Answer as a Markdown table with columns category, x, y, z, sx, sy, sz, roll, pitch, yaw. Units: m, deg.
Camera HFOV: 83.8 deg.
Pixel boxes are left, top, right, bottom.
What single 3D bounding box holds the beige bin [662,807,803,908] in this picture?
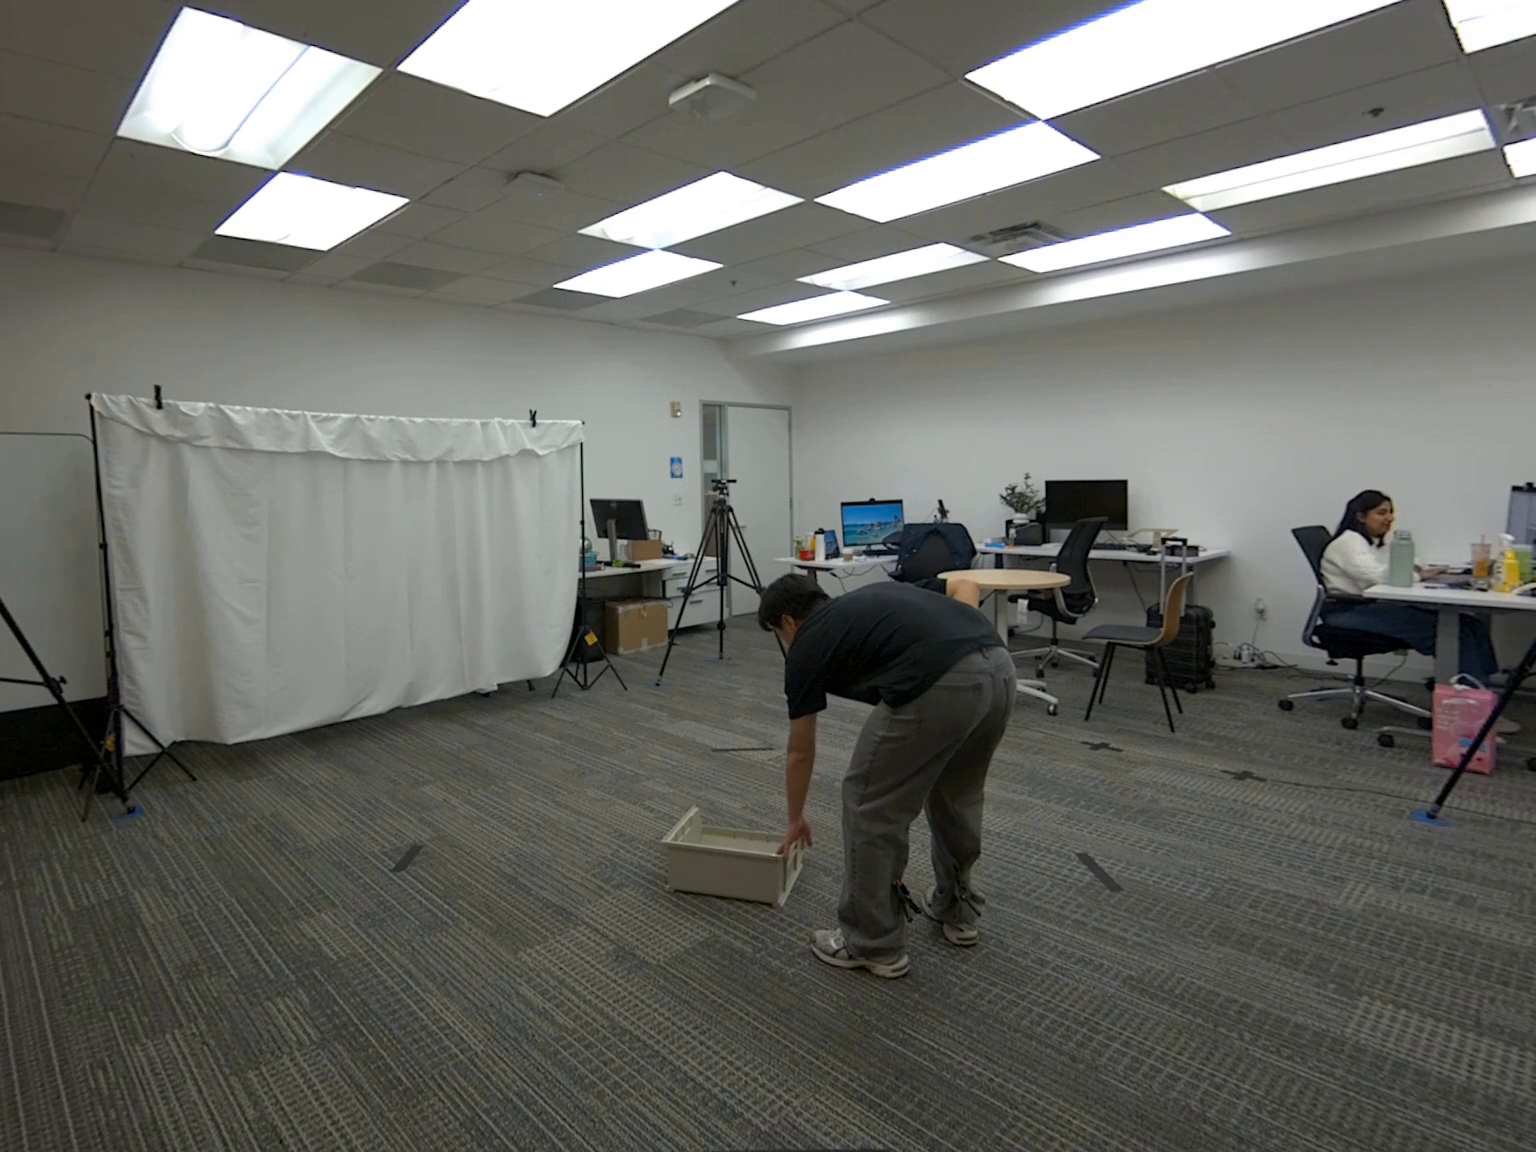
| category | x | y | z | sx | sy | sz | roll | pitch | yaw |
| --- | --- | --- | --- | --- | --- | --- | --- | --- | --- |
| beige bin | -0.110 | 0.972 | 3.011 | 0.429 | 0.188 | 0.373 | 1 | 7 | 16 |
